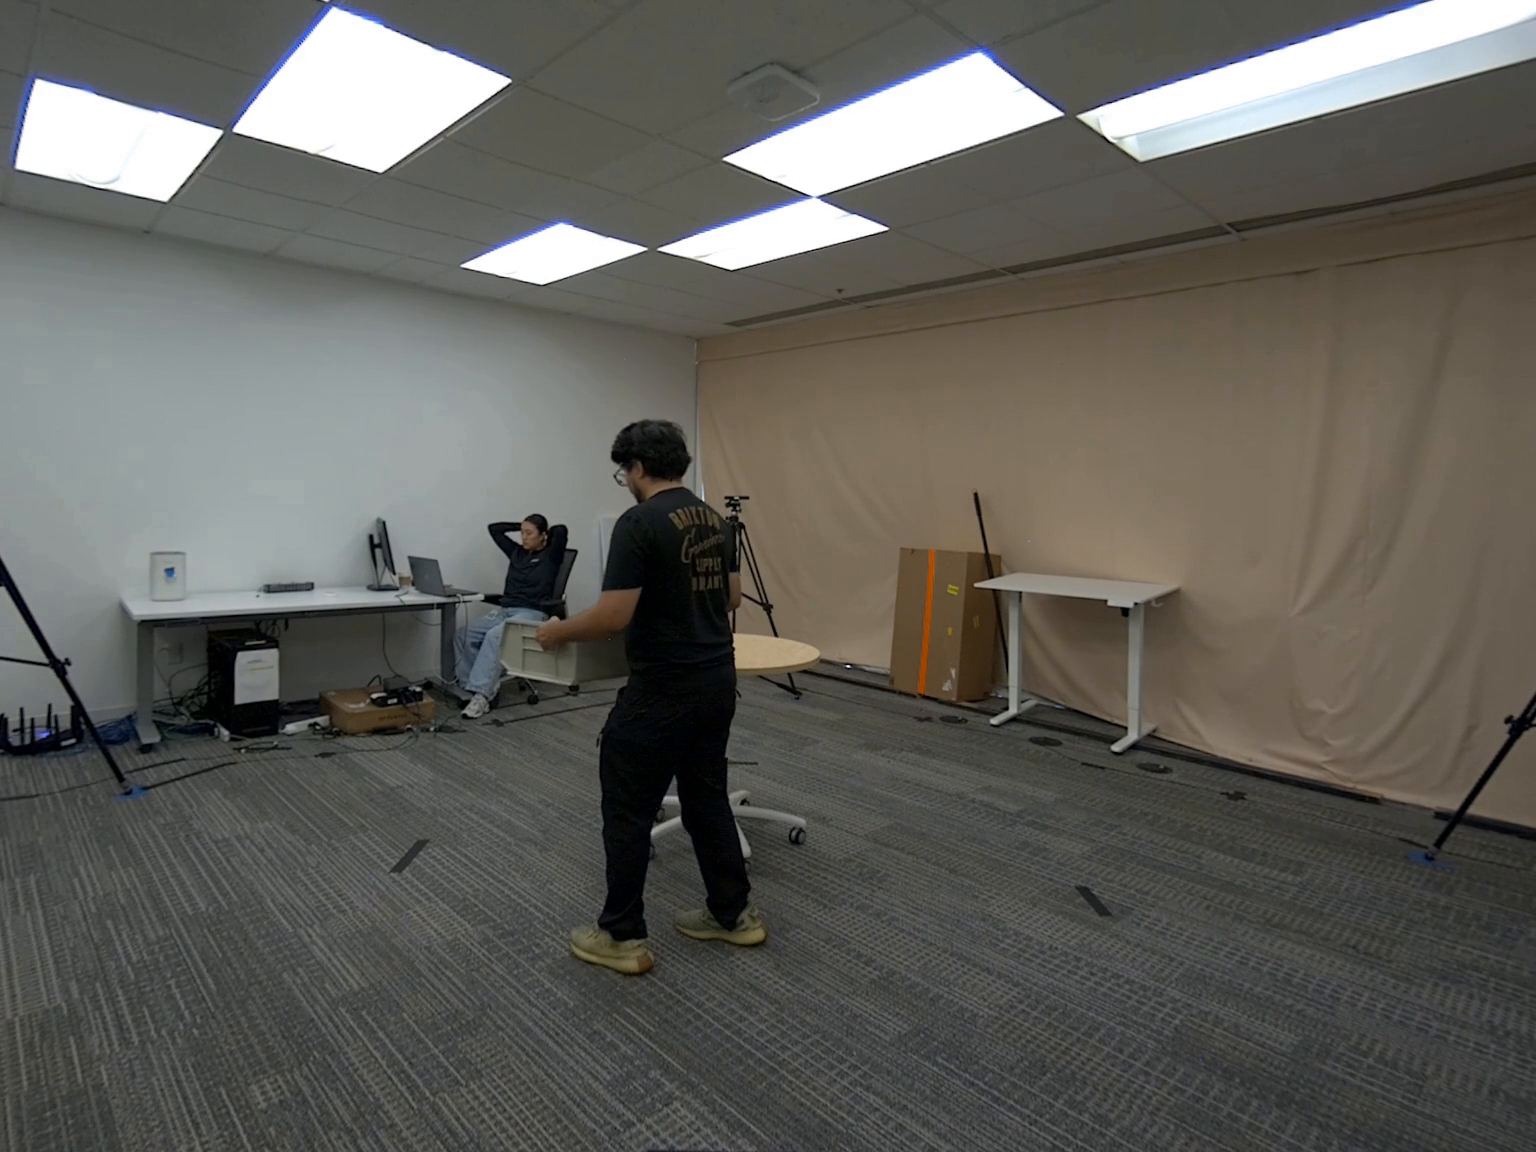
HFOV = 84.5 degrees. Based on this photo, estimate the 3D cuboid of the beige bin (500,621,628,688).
[{"bbox_3d":[-0.601,0.228,2.770,0.386,0.189,0.412,4,2,38],"label":"beige bin"}]
